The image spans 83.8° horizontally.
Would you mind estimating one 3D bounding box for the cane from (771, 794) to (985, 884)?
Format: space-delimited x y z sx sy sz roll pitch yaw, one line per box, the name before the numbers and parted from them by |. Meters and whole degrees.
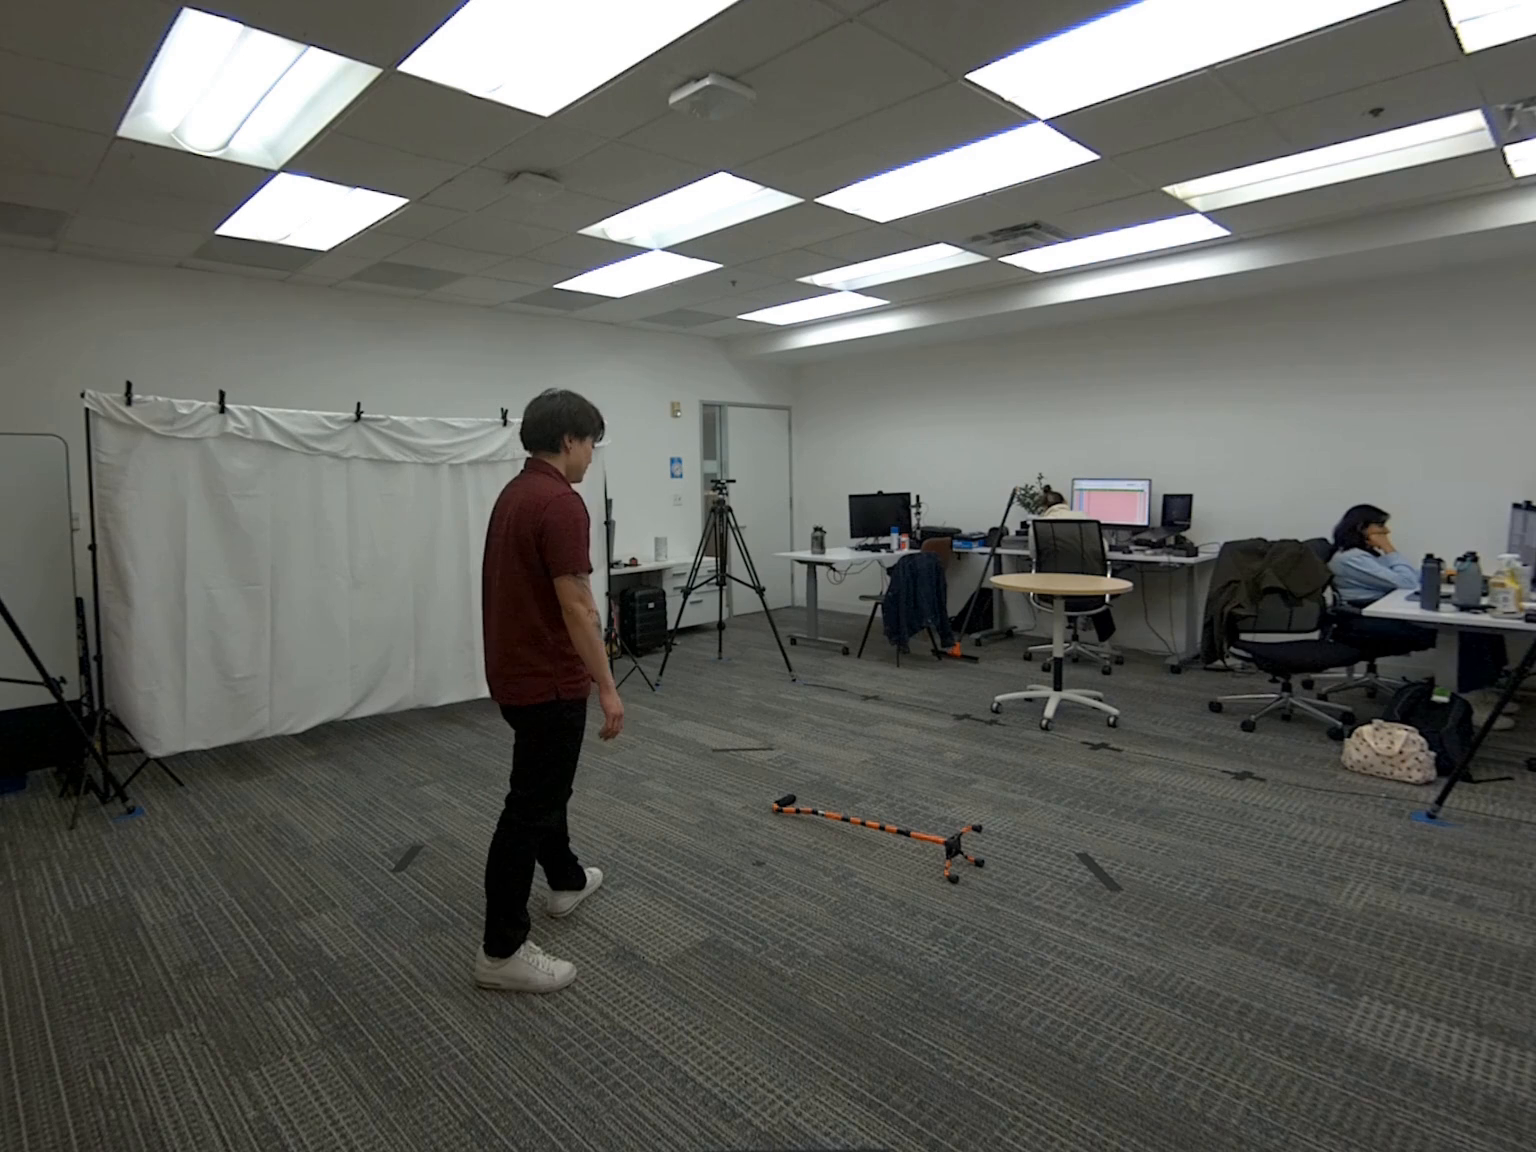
cane | 0.372 0.972 3.315 0.934 0.151 0.201 -1 4 45
